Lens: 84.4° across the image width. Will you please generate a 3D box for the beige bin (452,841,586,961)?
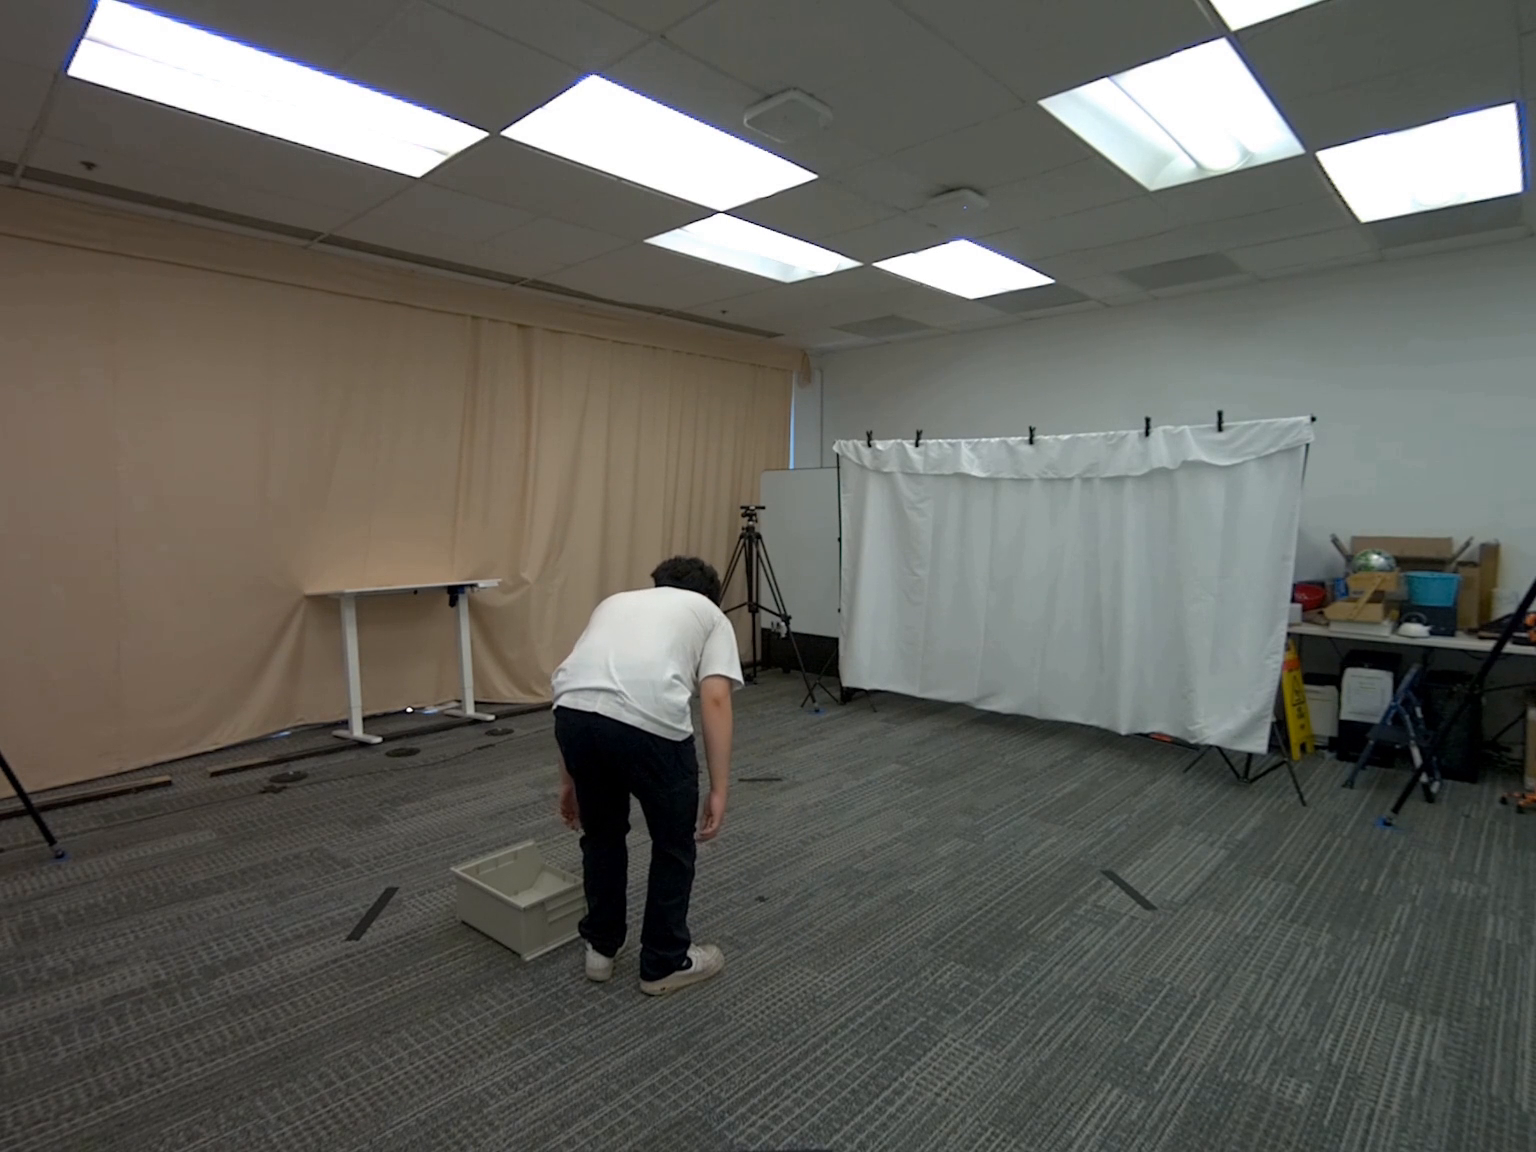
[{"bbox_3d":[-0.795,1.076,2.838,0.436,0.188,0.366,4,7,40],"label":"beige bin"}]
